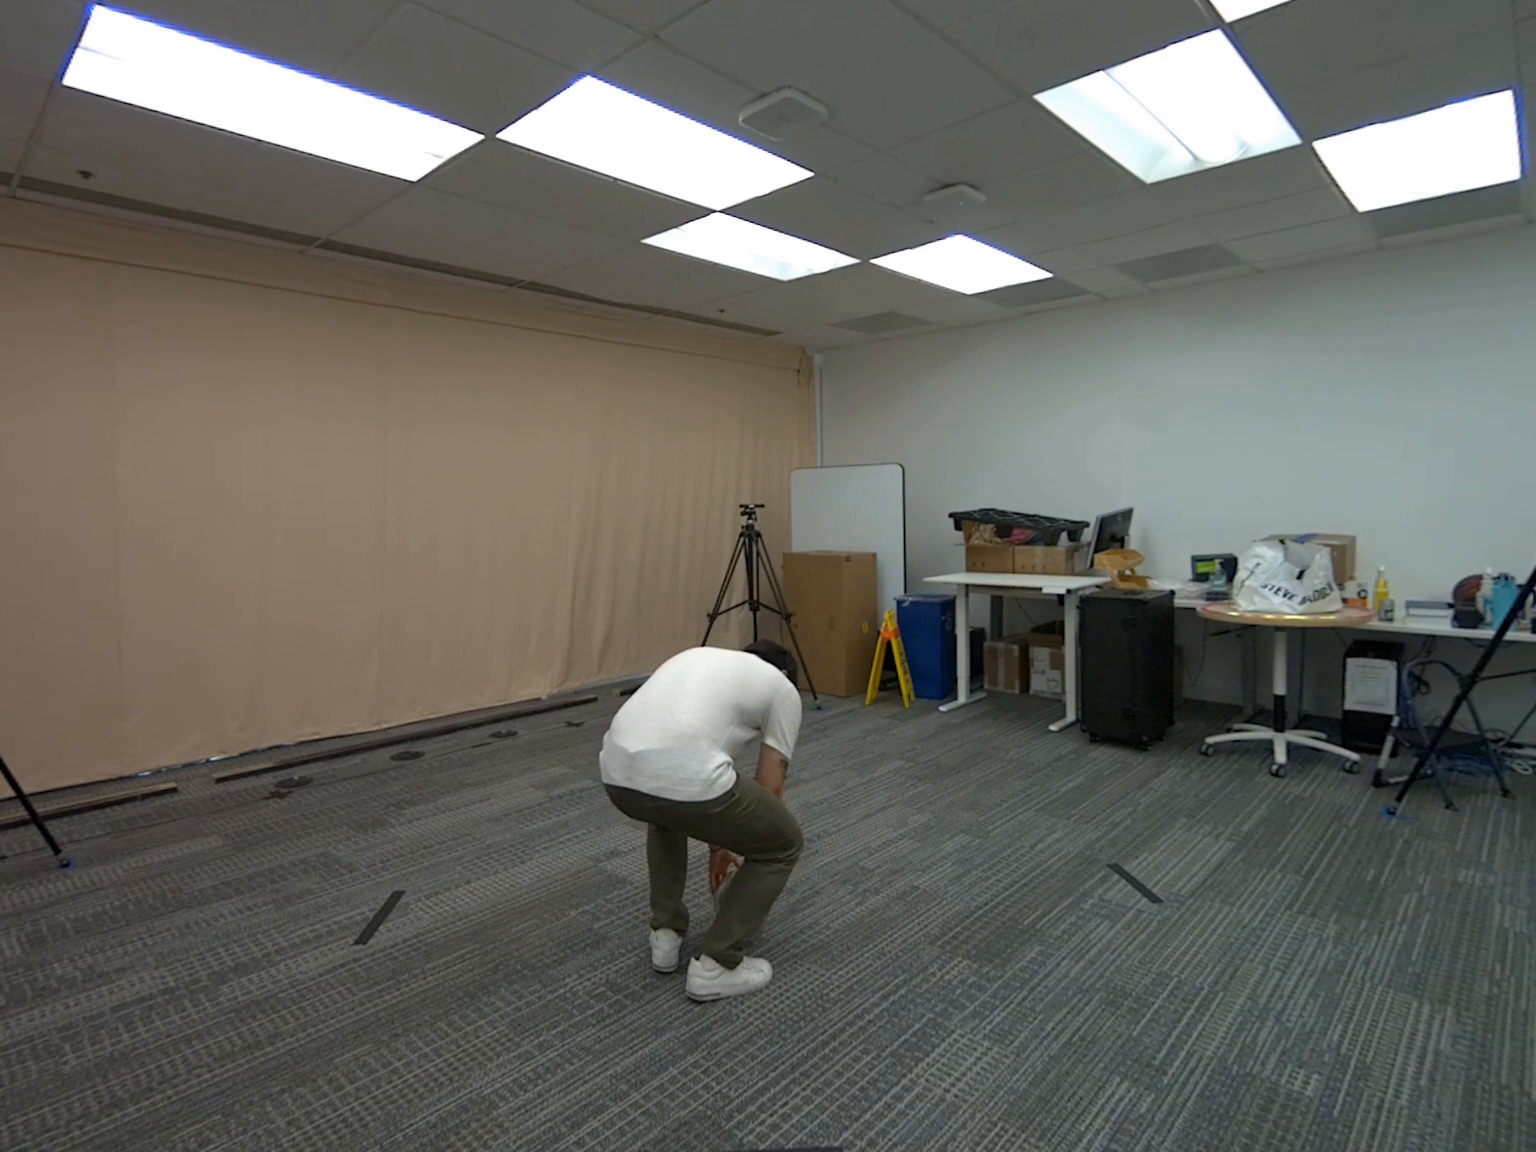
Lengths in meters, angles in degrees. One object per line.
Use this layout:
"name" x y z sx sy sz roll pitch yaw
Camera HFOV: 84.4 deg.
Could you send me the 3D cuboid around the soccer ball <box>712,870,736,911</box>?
"soccer ball" -0.075 1.034 2.703 0.187 0.187 0.188 -1 4 -2
